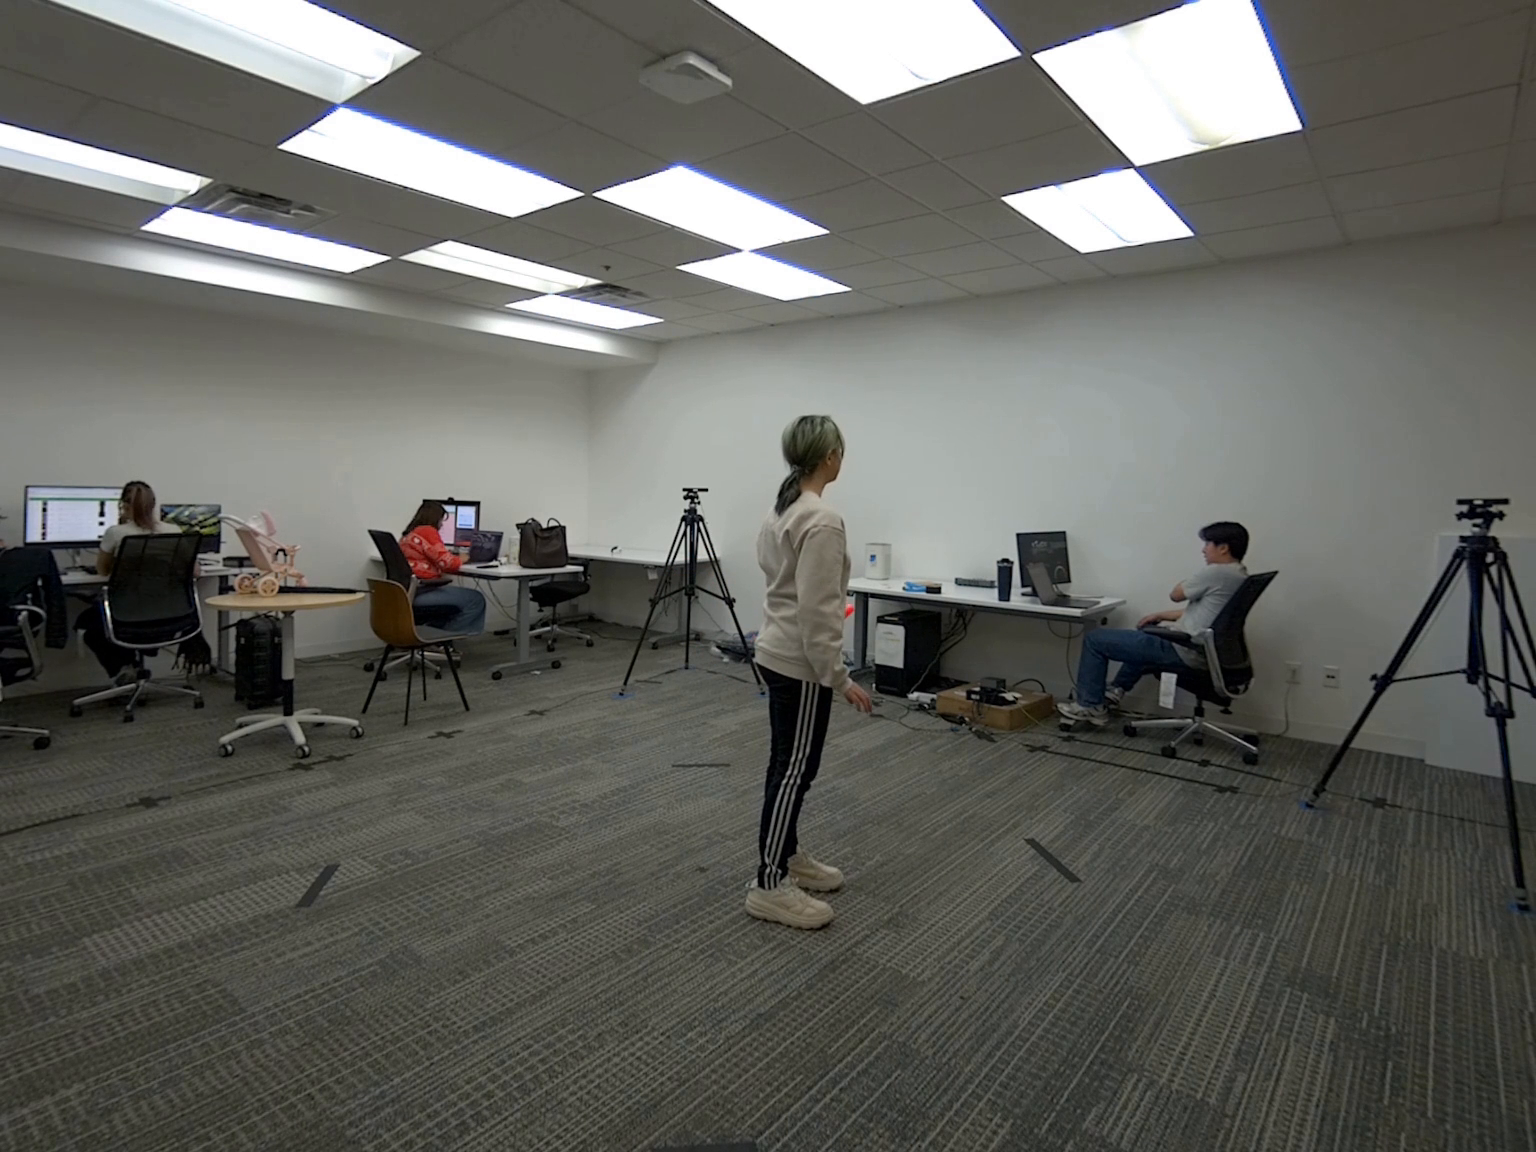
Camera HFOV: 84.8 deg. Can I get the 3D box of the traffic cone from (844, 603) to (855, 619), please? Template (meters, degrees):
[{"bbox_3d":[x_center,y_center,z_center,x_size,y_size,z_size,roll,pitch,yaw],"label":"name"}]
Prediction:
[{"bbox_3d":[0.163,0.220,3.328,0.383,0.212,0.196,-34,-29,-1],"label":"traffic cone"}]
